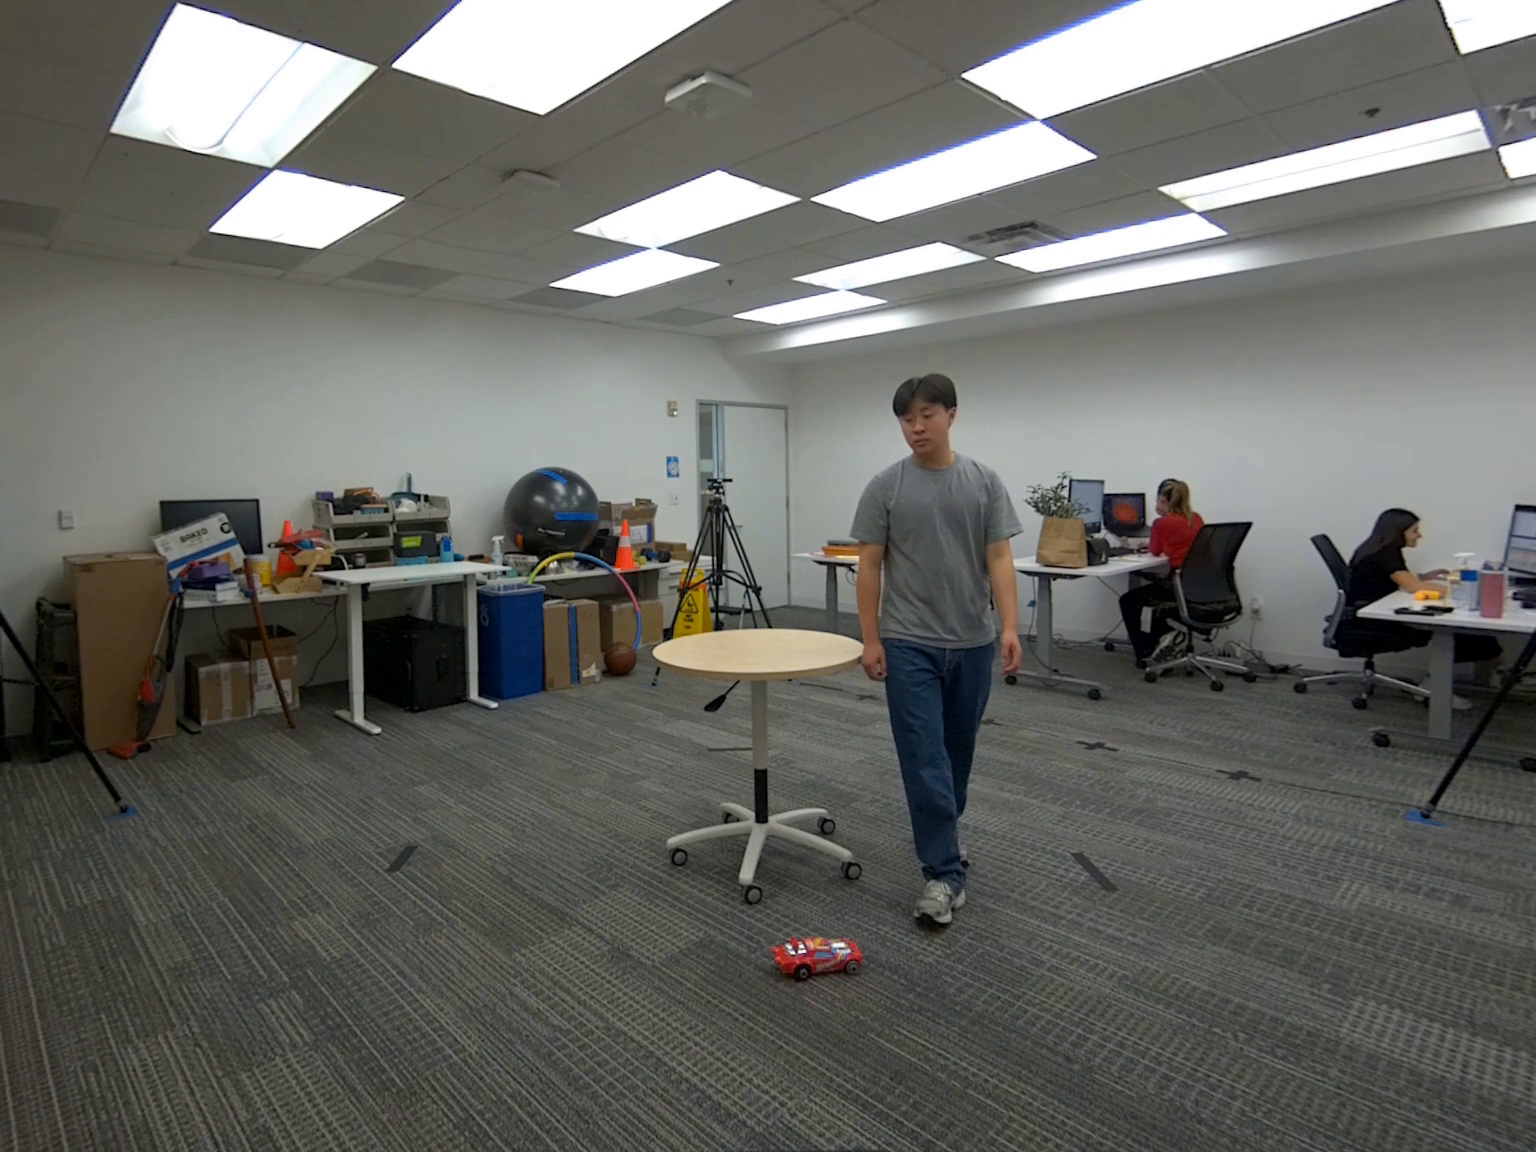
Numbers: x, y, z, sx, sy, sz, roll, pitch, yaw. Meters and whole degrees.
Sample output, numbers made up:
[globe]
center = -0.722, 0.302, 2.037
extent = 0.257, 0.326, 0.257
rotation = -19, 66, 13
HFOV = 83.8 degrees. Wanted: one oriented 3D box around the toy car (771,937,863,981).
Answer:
[toy car]
center = 0.140, 1.091, 2.432
extent = 0.251, 0.083, 0.132
rotation = 9, 3, -11
